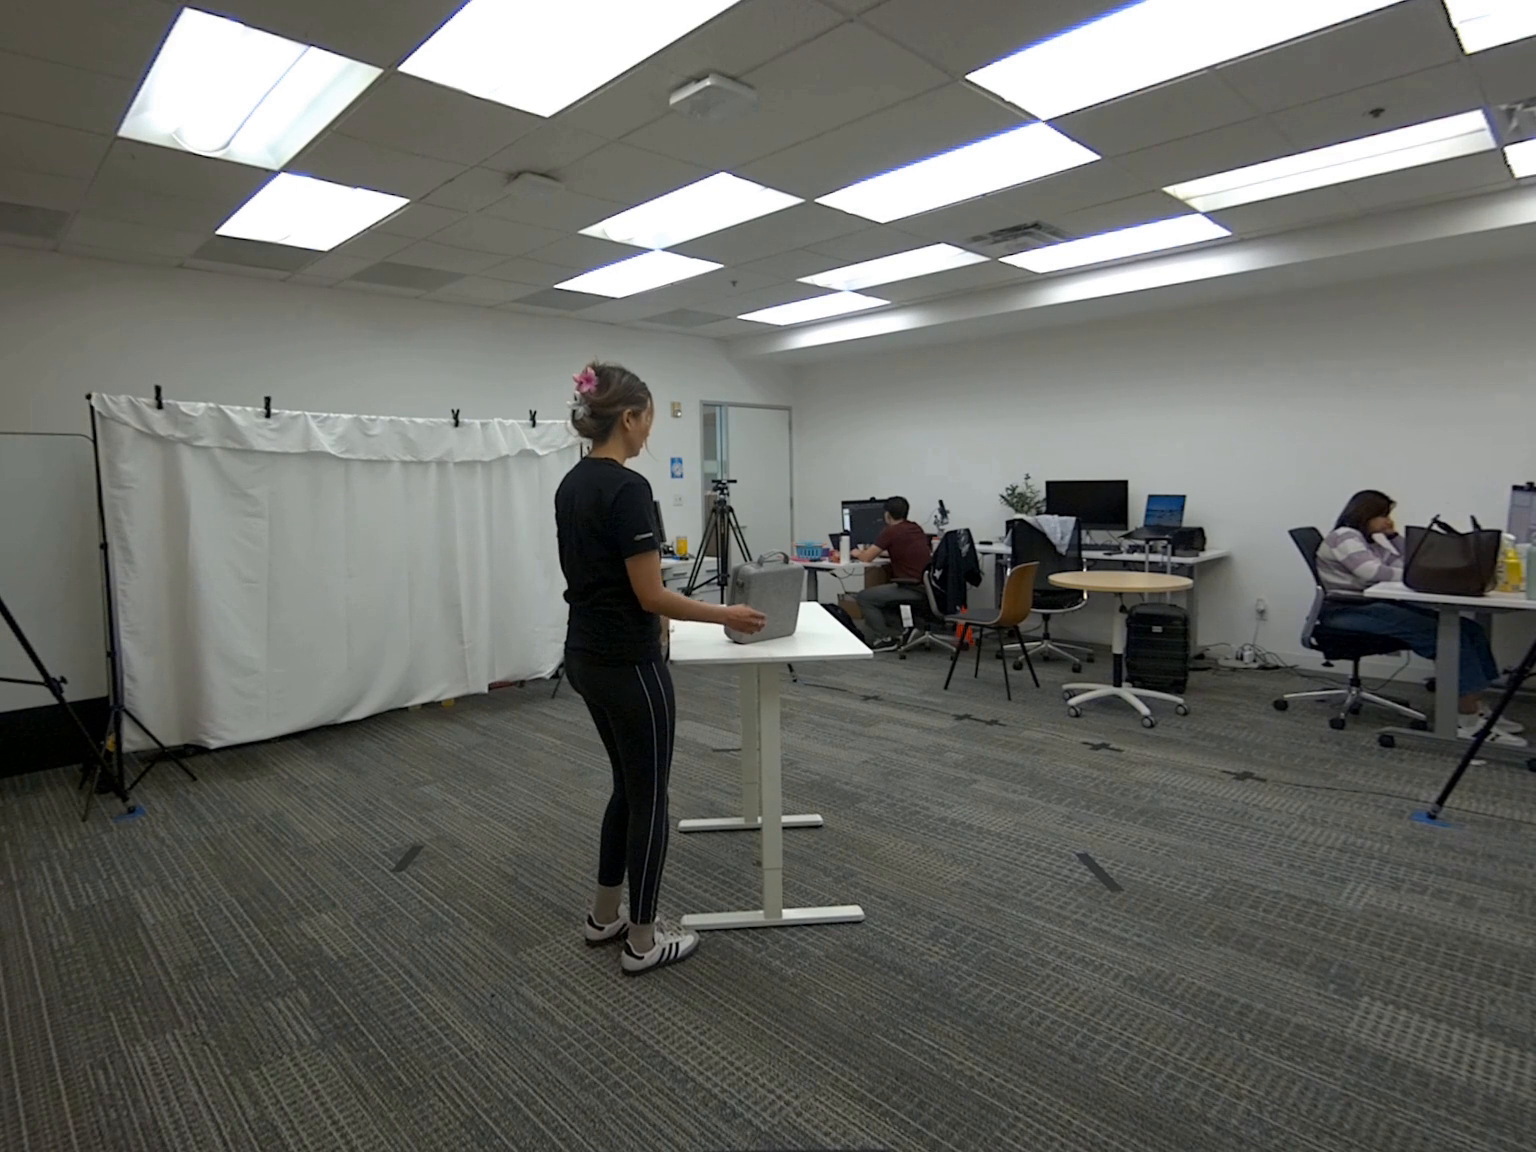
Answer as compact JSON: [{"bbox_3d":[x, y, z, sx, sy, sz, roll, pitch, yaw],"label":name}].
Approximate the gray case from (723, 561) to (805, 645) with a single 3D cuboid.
[{"bbox_3d":[-0.005,0.075,2.756,0.250,0.258,0.108,-6,19,-40],"label":"gray case"}]
